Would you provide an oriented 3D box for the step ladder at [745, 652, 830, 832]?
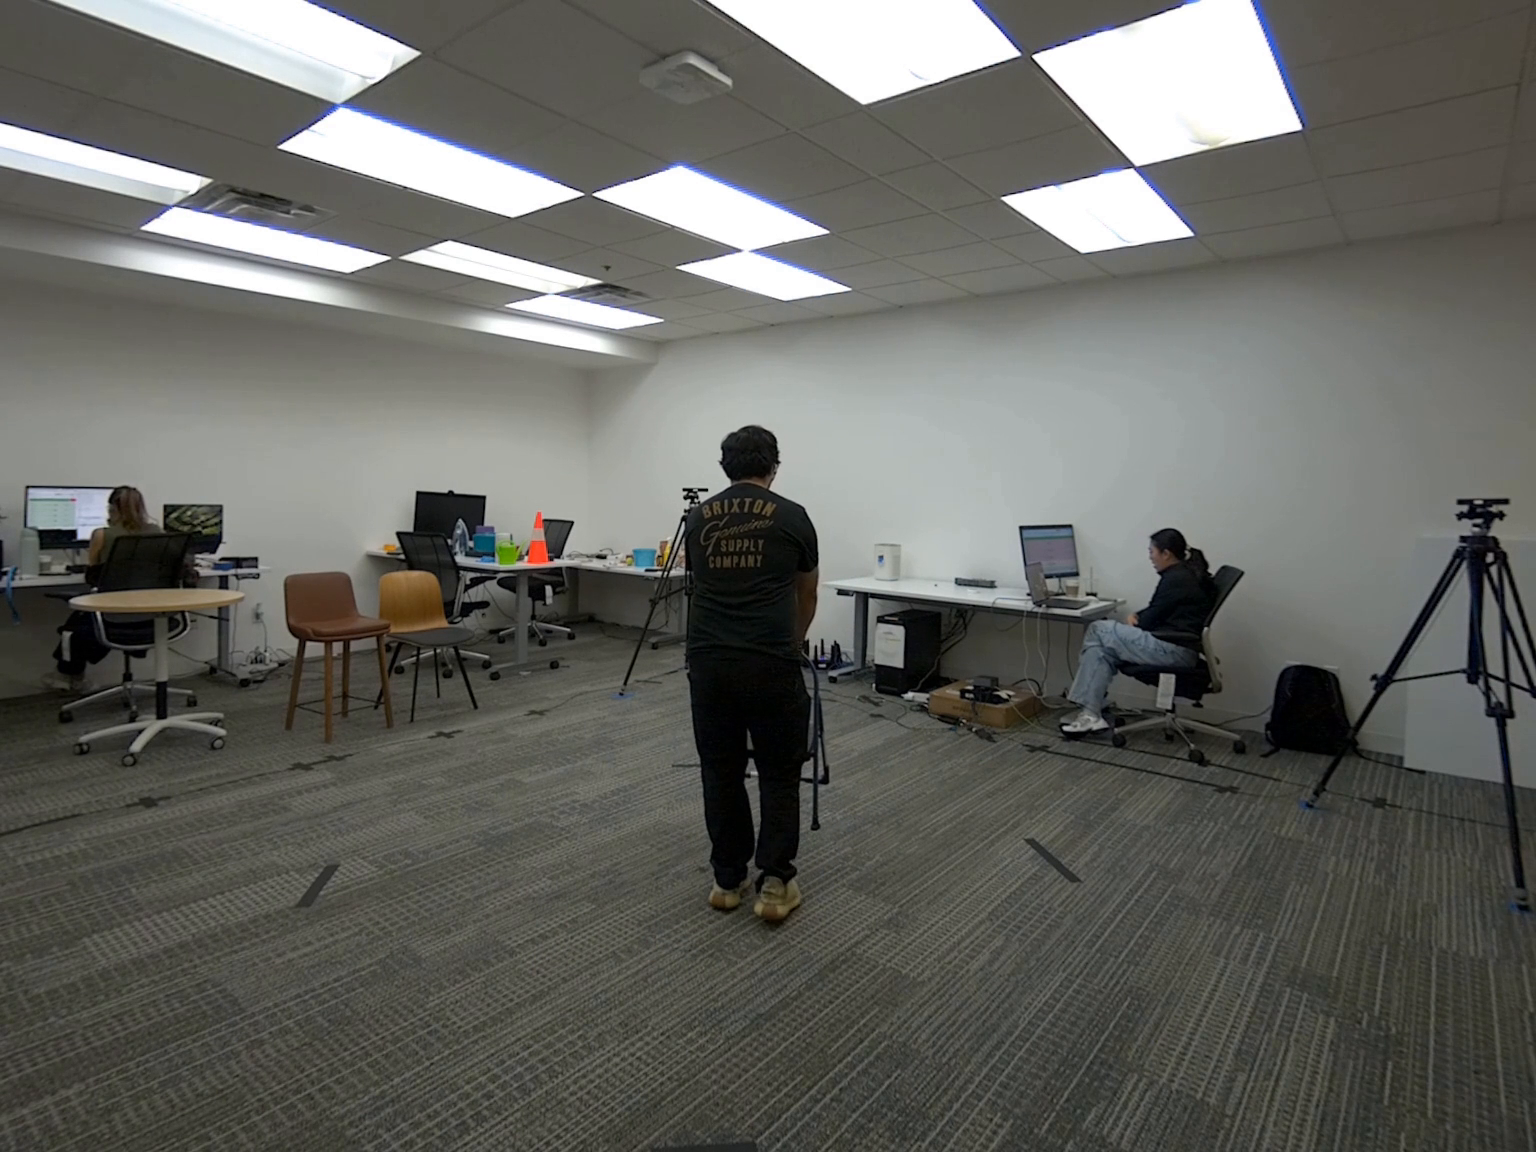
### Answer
[{"bbox_3d":[-0.011,0.574,3.216,0.438,0.598,0.348,1,14,15],"label":"step ladder"}]
